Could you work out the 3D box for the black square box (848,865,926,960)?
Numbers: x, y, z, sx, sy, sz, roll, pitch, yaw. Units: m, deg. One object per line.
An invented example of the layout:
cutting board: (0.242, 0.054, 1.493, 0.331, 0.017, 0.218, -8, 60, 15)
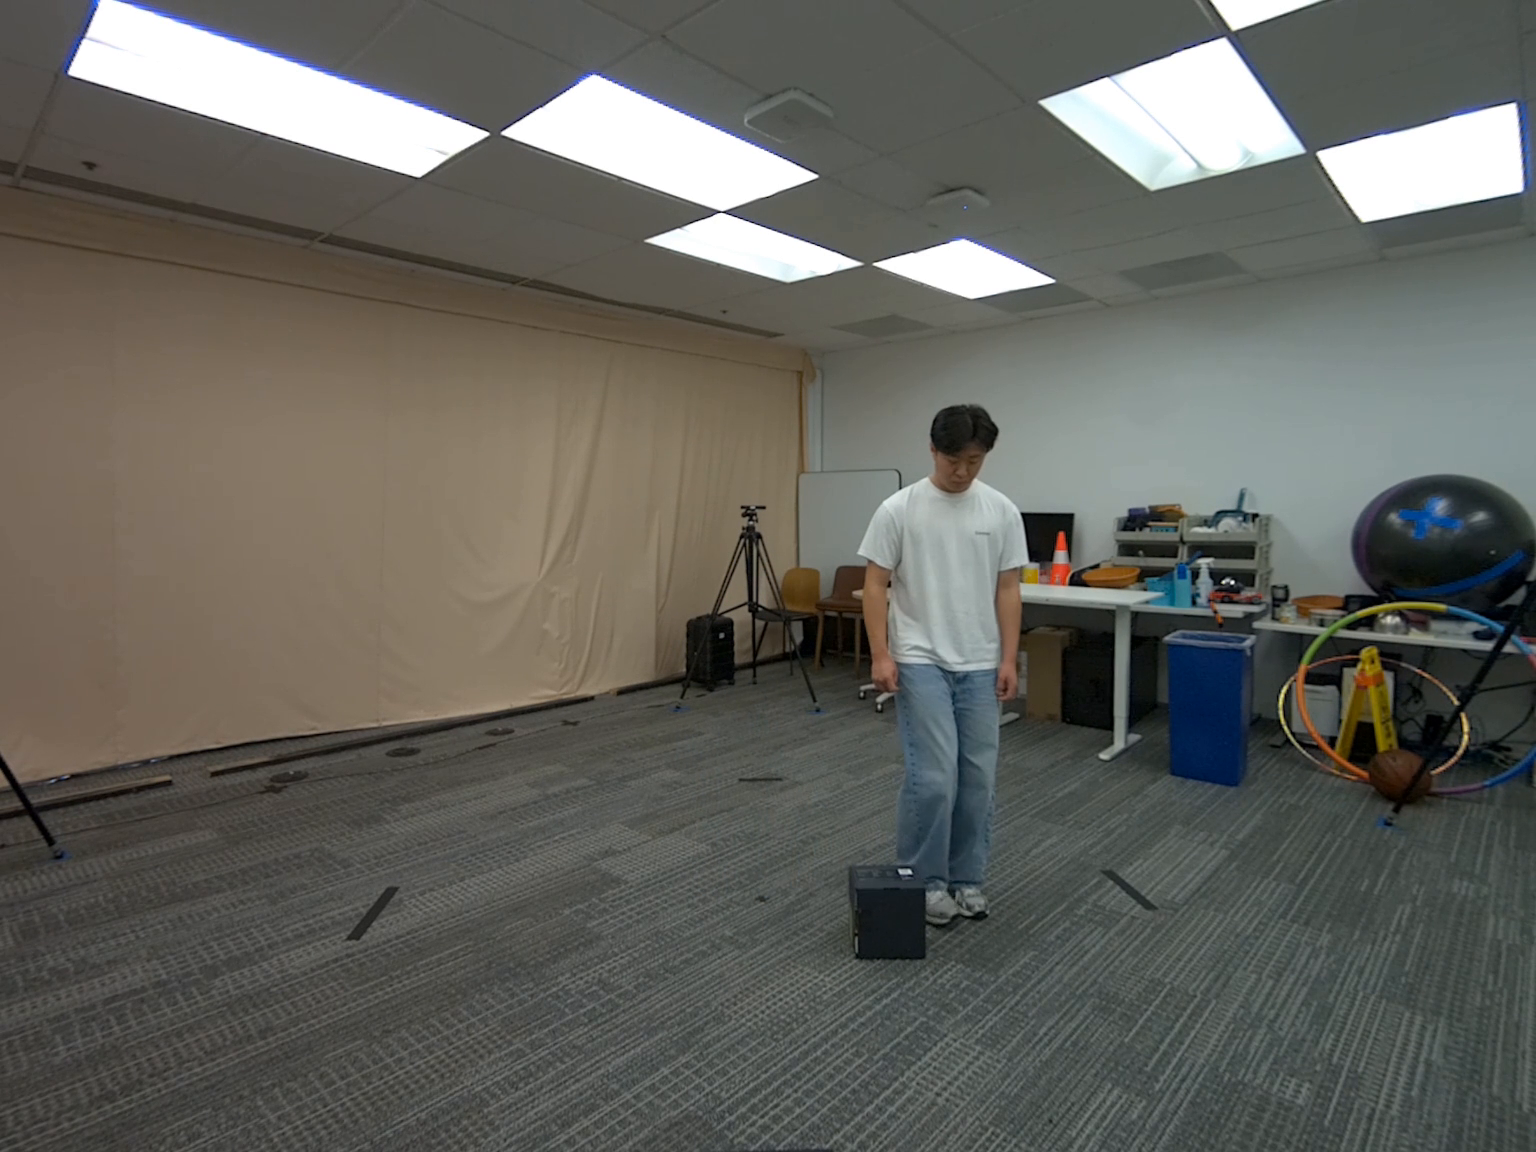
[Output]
black square box: (0.375, 1.053, 2.639, 0.217, 0.227, 0.156, 0, 4, 0)
